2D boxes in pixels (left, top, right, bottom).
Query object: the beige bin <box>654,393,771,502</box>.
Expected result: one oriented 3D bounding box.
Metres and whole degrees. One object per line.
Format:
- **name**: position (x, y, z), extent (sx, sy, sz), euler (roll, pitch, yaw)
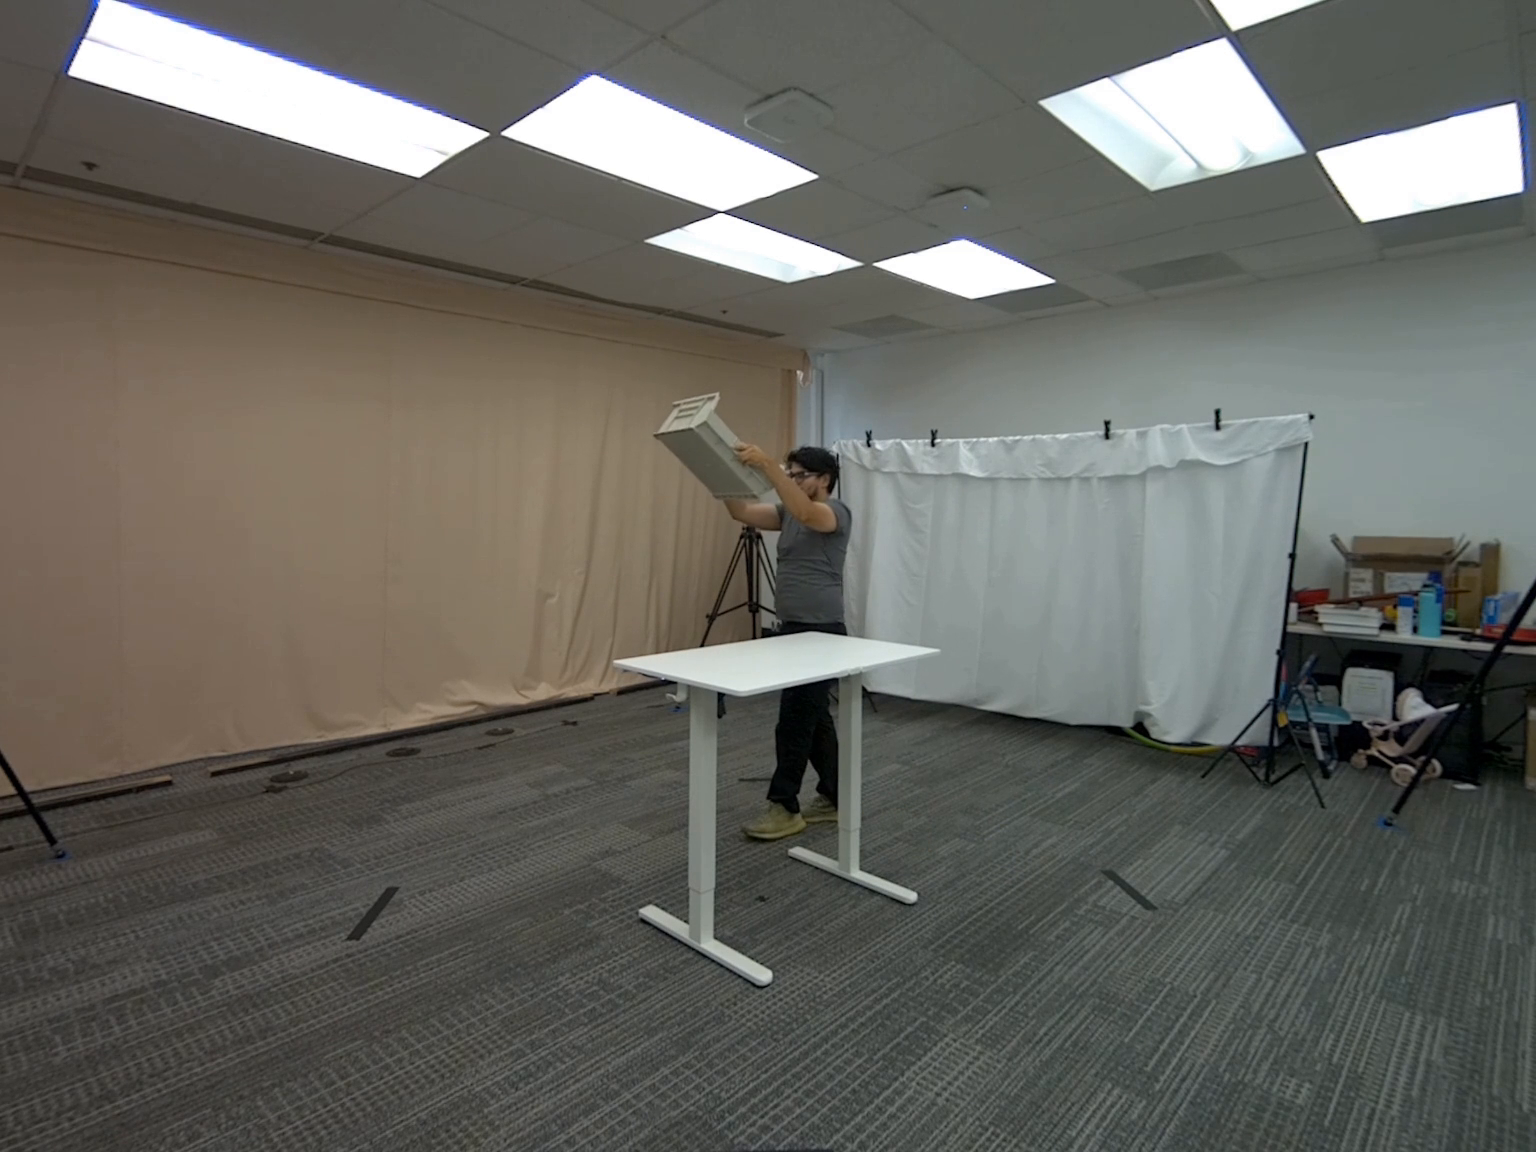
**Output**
- **beige bin**: position (-0.191, -0.508, 3.403), extent (0.410, 0.189, 0.389), euler (44, -21, -28)
